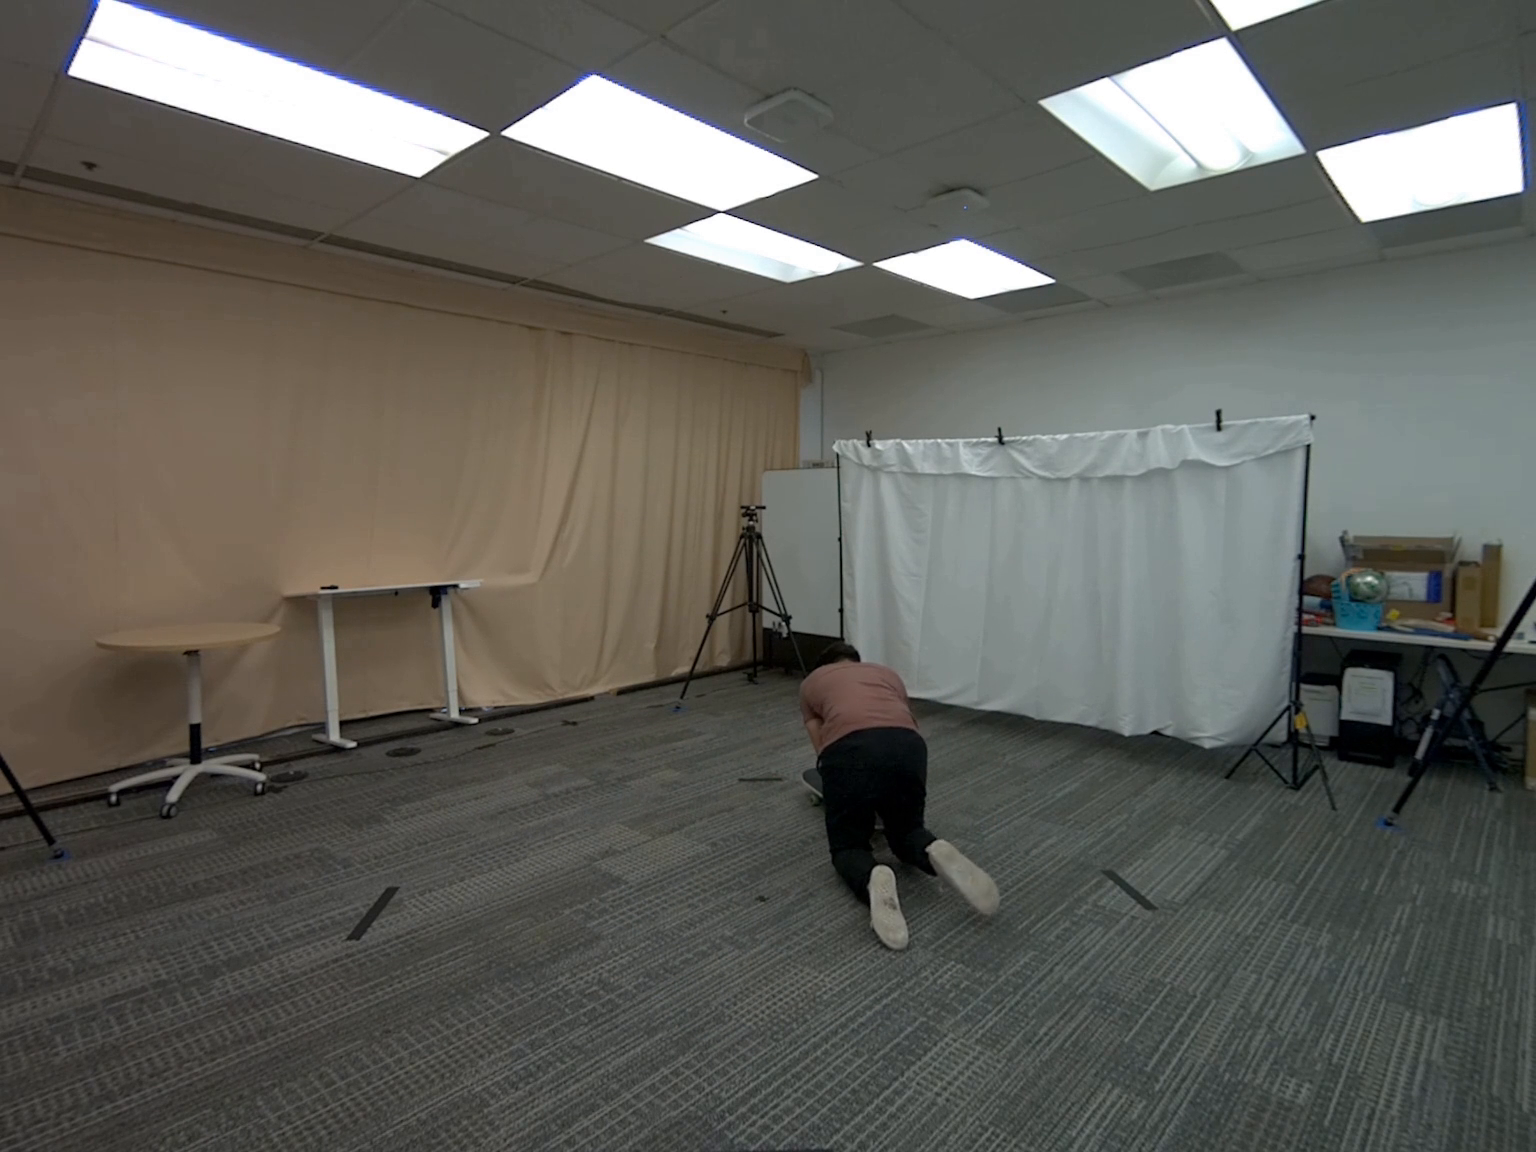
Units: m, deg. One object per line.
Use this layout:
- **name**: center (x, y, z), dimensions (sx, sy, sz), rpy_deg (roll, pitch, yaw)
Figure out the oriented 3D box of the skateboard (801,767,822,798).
- **skateboard**: center (0.360, 1.024, 3.755), dimensions (0.190, 0.110, 0.802), rpy_deg (-2, 5, -20)
